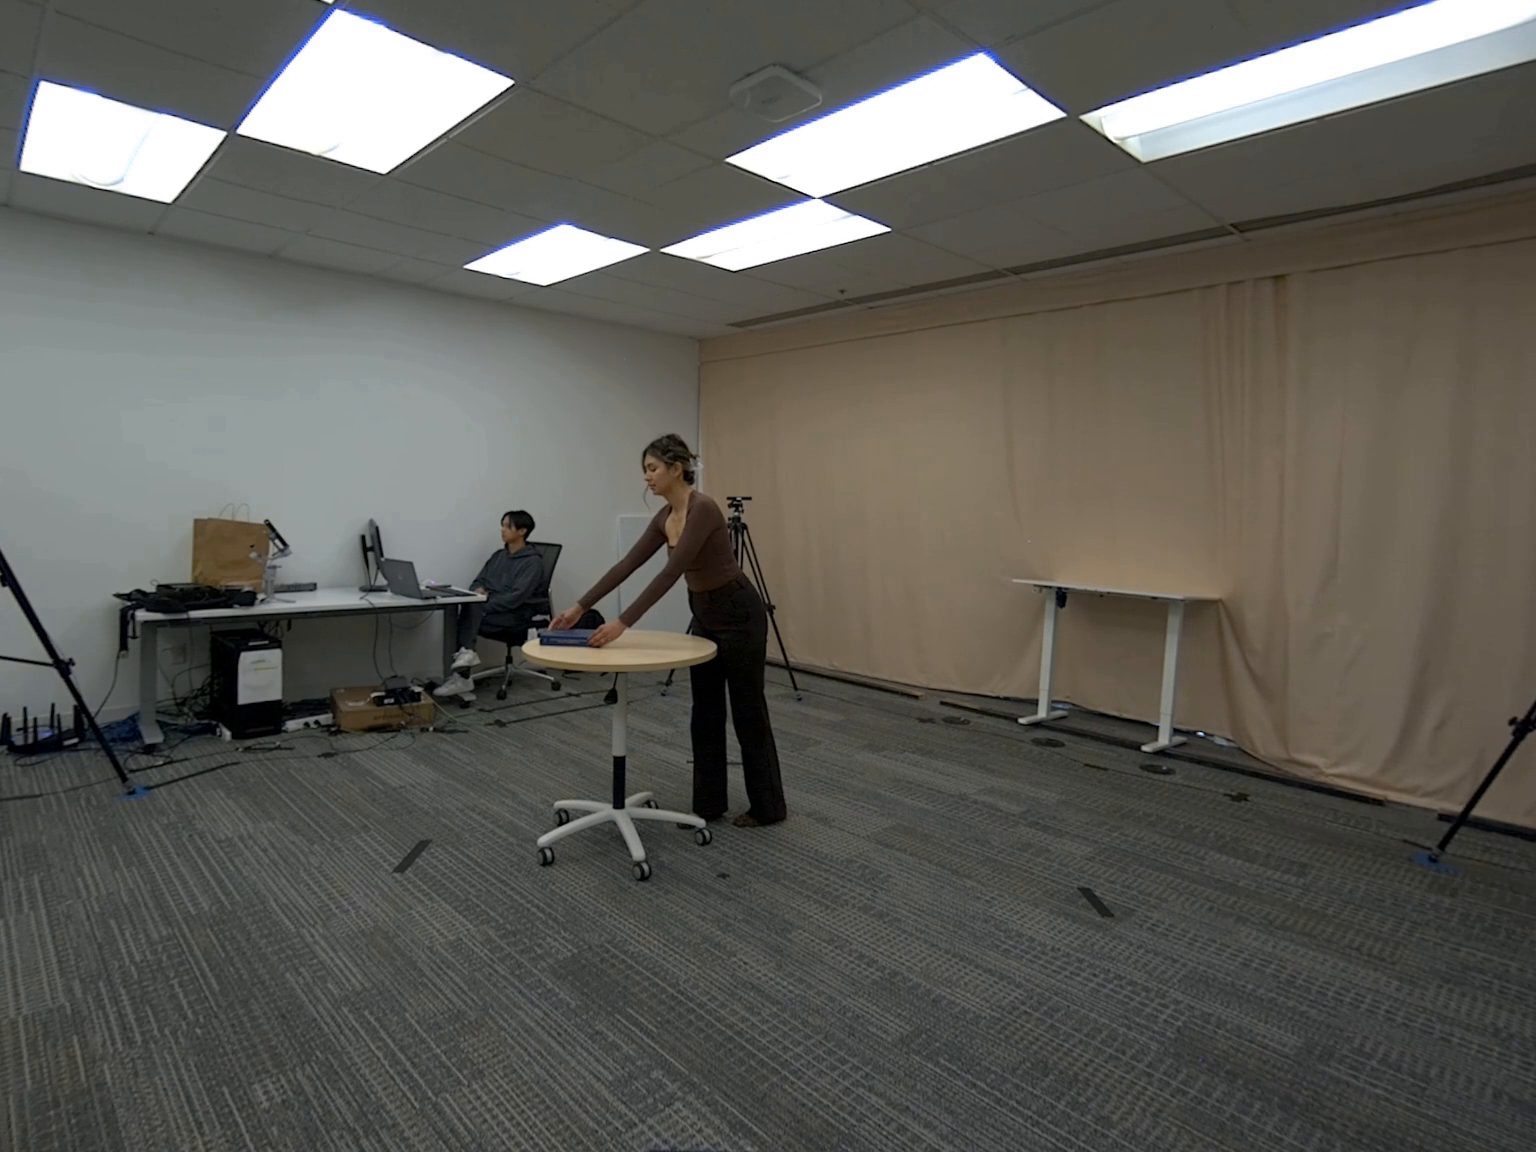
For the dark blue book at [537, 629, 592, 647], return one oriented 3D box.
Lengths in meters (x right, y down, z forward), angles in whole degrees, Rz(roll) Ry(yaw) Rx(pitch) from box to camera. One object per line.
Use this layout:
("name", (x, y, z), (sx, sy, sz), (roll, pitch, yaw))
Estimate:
("dark blue book", (-0.792, 0.253, 3.370), (0.246, 0.045, 0.163), (1, 6, 4))
